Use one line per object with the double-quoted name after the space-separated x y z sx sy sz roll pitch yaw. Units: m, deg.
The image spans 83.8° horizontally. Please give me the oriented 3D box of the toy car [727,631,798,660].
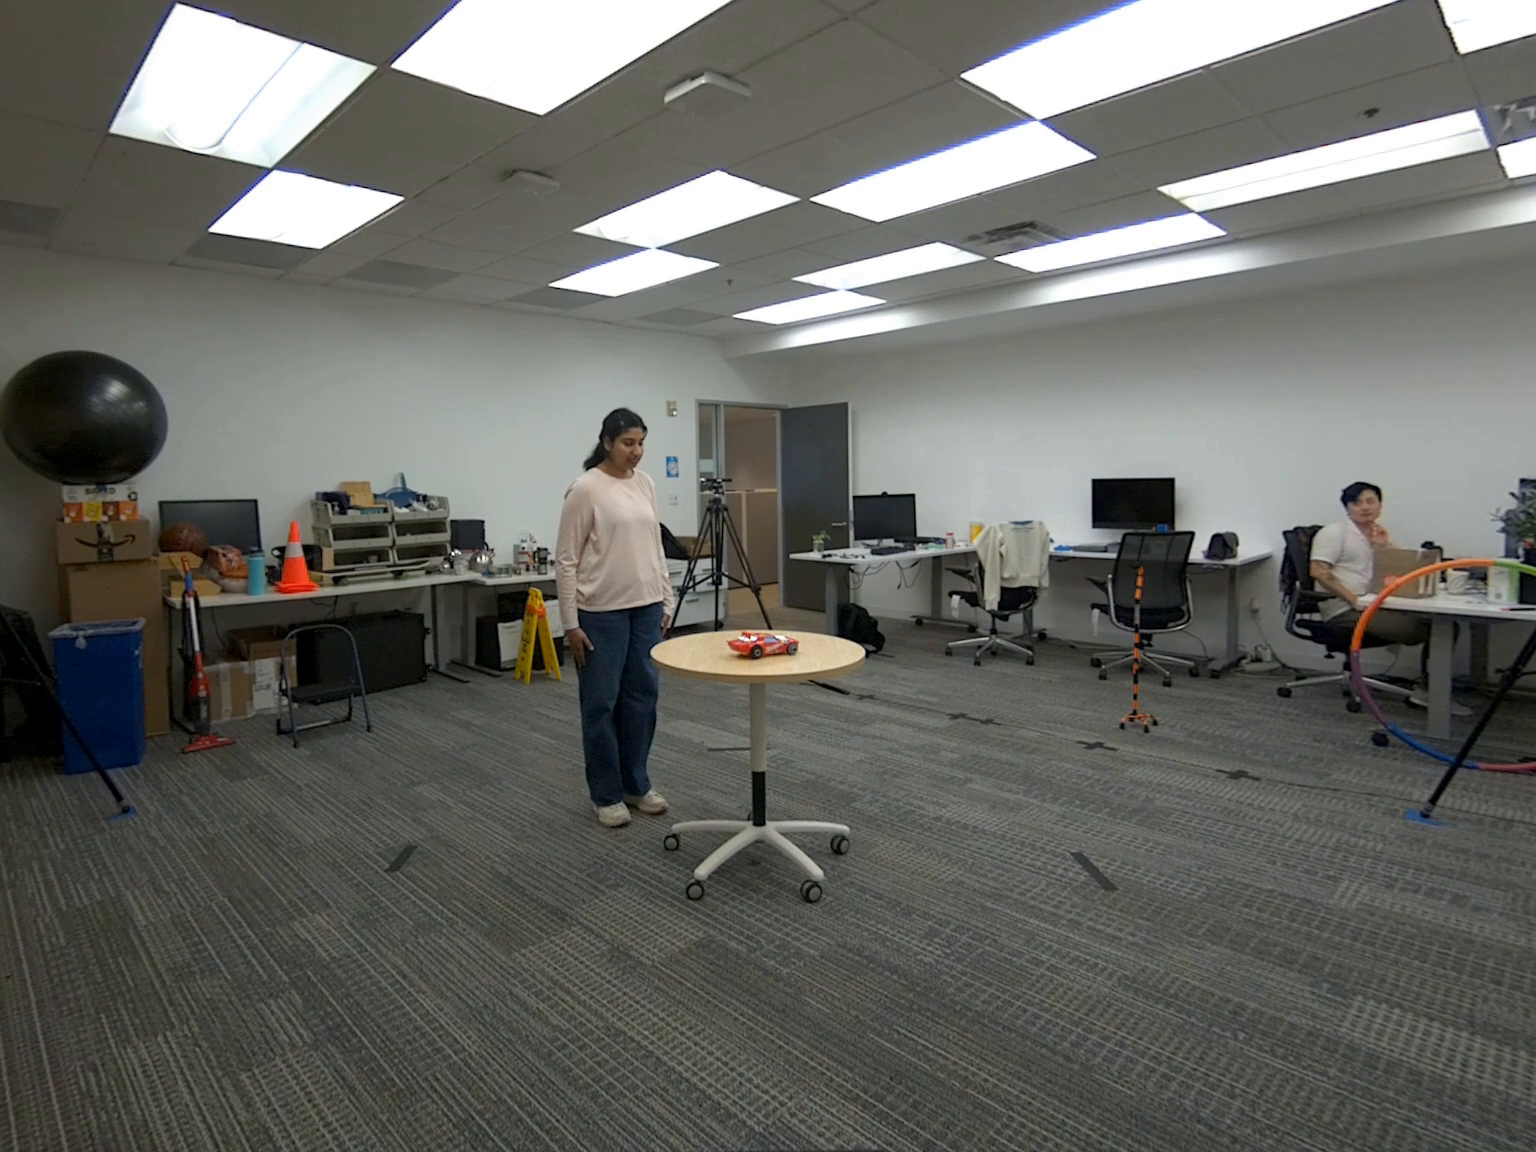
-0.019 0.243 2.976 0.248 0.083 0.134 9 1 -28 "toy car"
